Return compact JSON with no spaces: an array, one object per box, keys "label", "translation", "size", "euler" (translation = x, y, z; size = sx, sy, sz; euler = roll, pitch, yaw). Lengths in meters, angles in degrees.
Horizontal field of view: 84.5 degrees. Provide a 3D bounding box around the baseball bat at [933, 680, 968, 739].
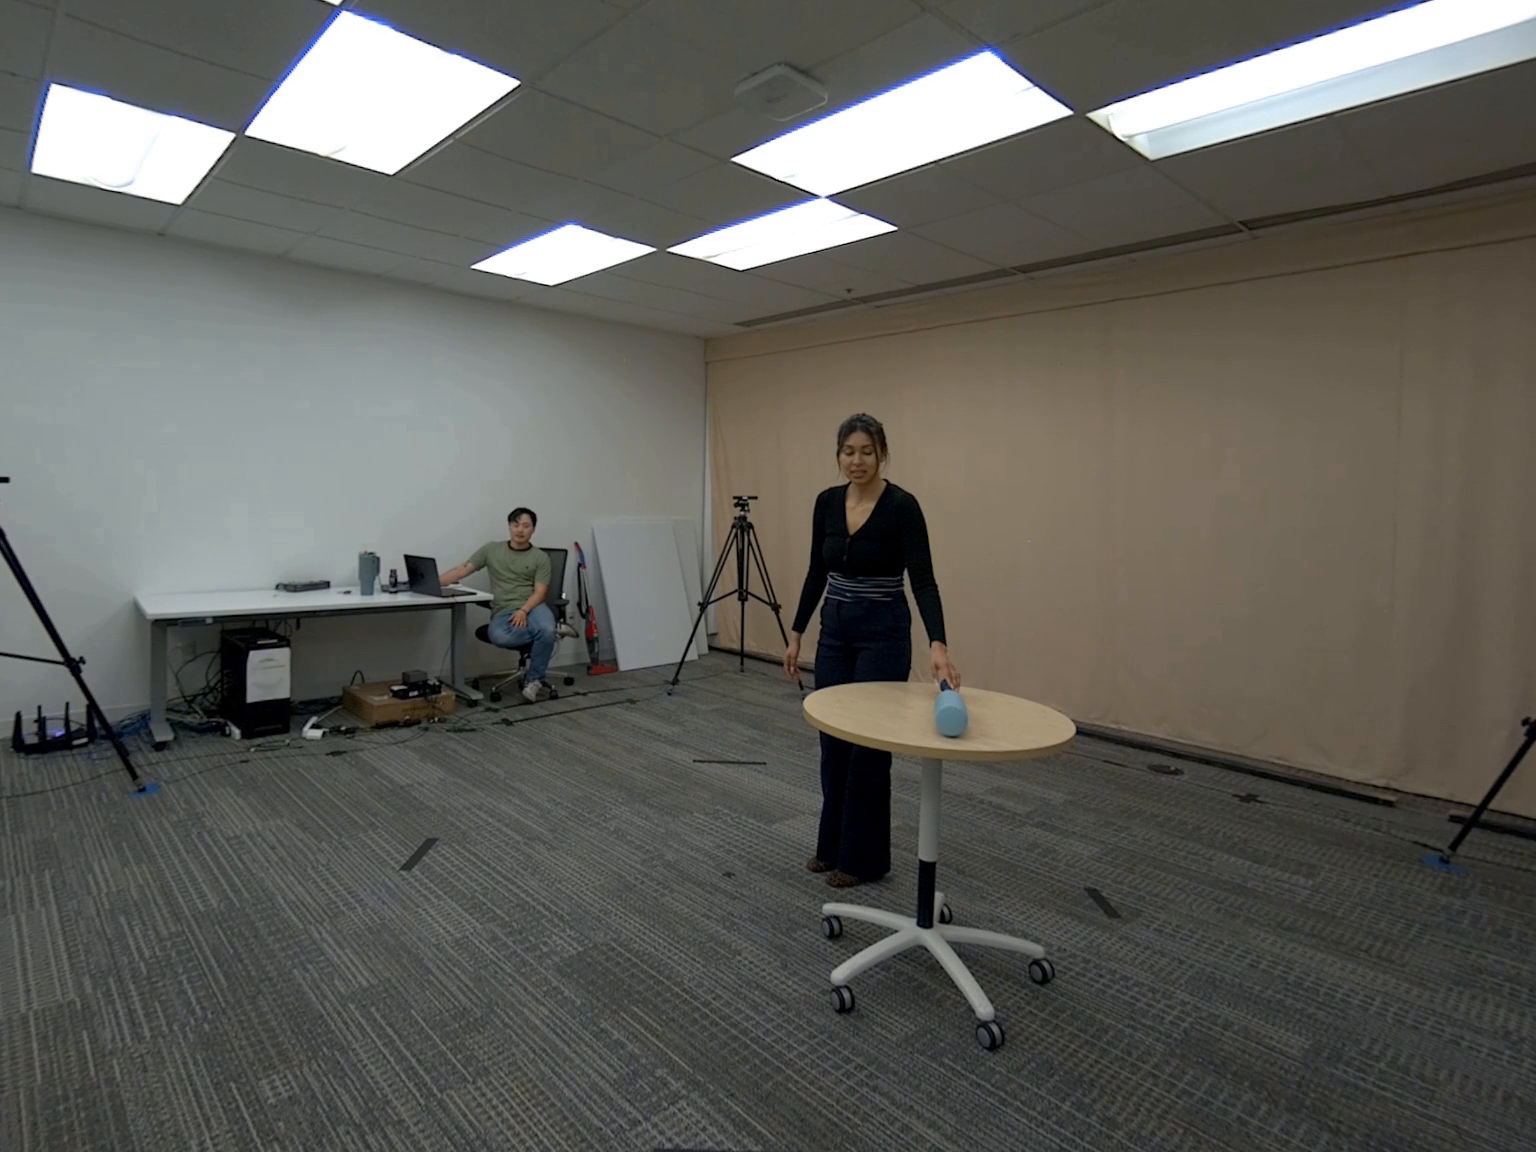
[{"label":"baseball bat","translation":[0.518,0.359,2.427],"size":[0.090,0.089,0.539],"euler":[2,5,10]}]
